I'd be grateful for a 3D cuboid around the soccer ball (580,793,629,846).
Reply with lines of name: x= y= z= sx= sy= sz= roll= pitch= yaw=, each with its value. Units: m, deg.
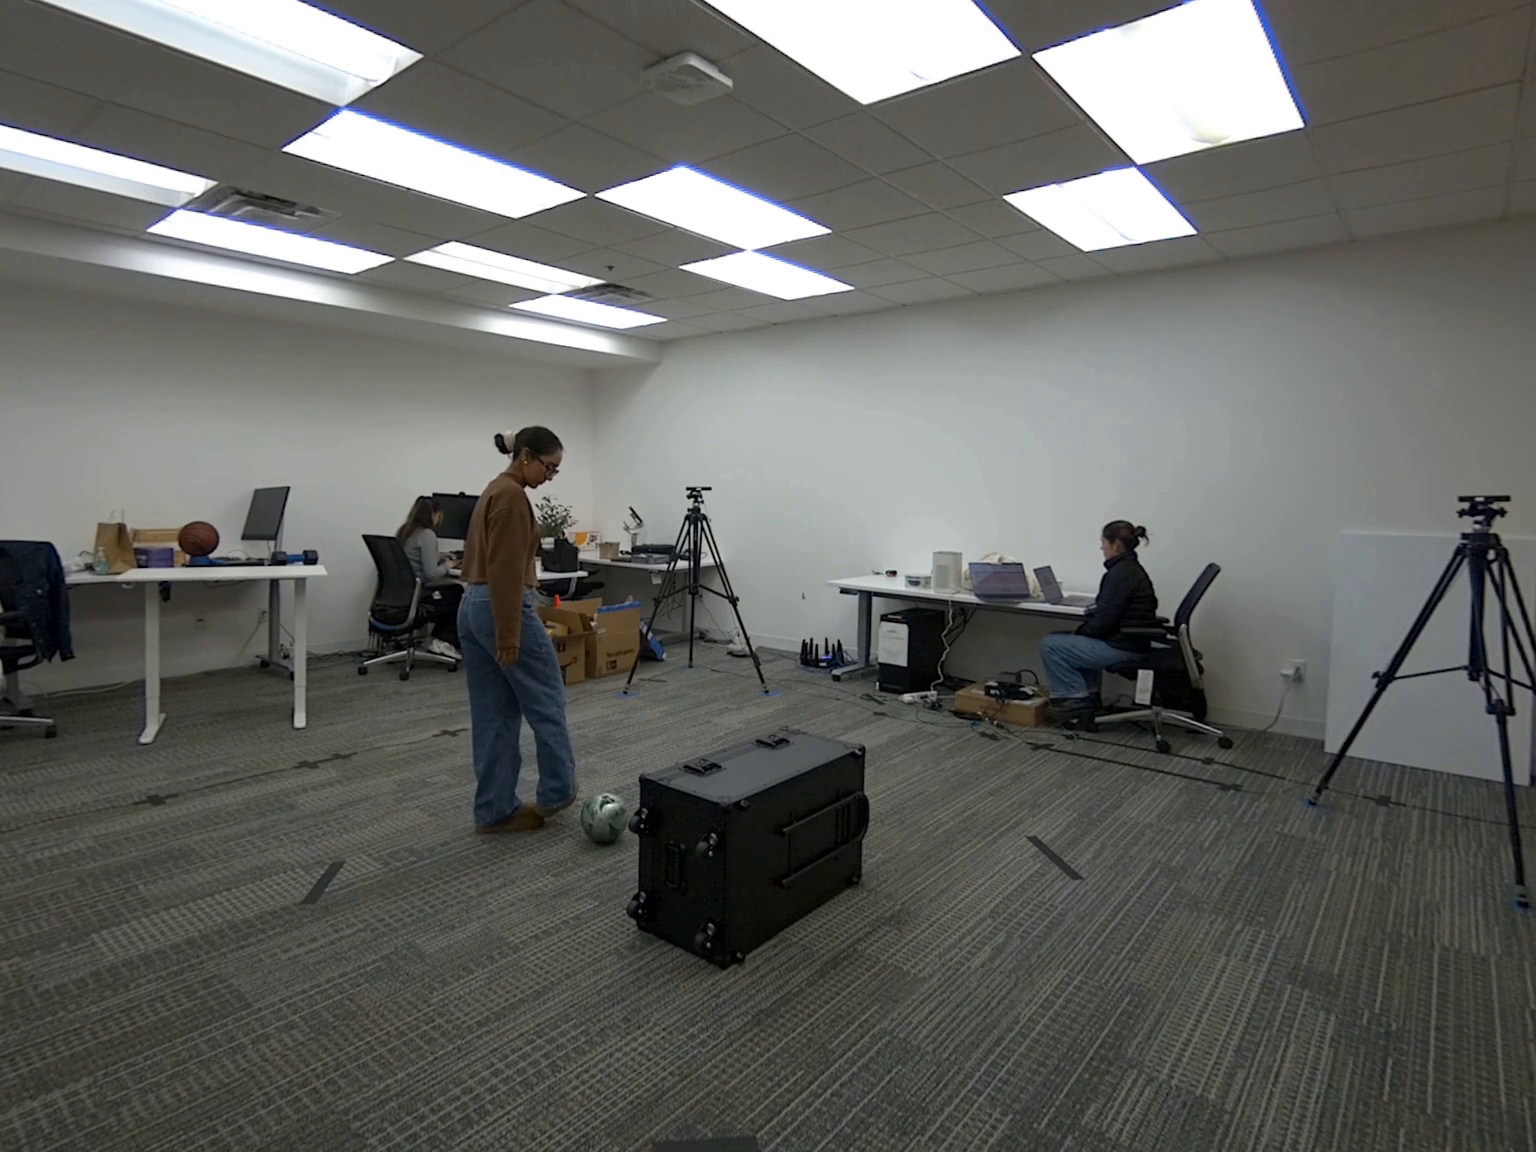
soccer ball: x=-0.648 y=0.944 z=3.324 sx=0.187 sy=0.187 sz=0.188 roll=1 pitch=4 yaw=-2
